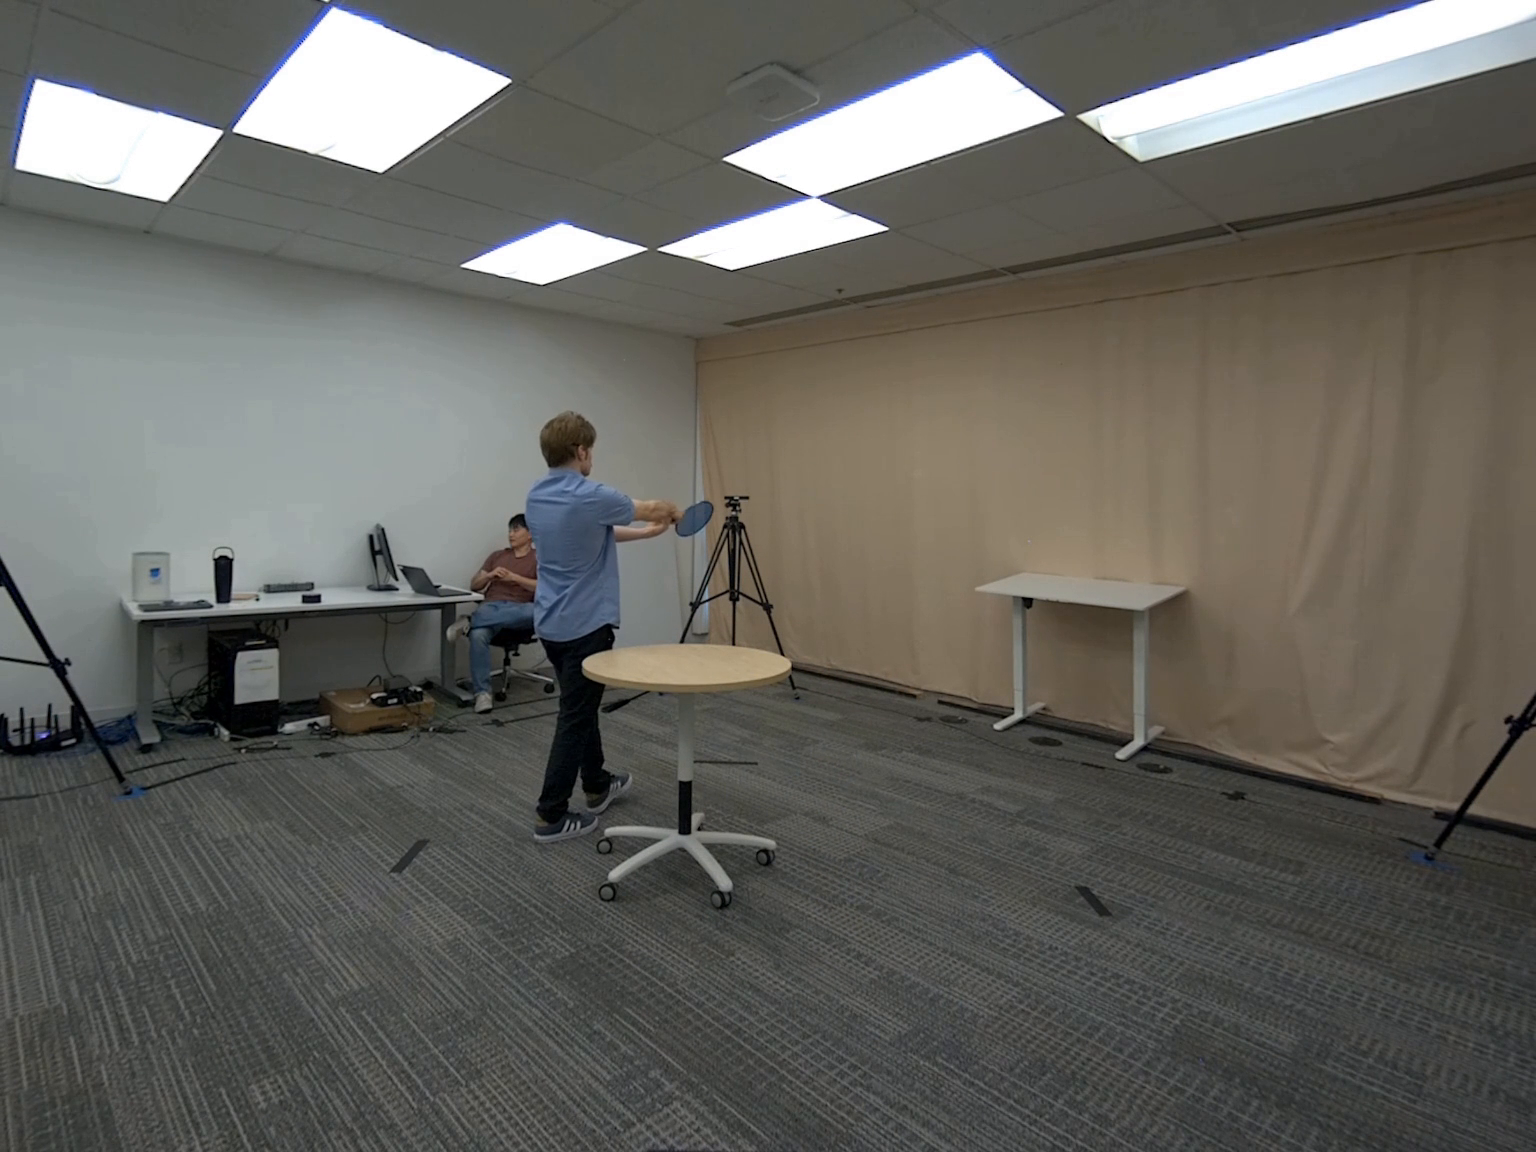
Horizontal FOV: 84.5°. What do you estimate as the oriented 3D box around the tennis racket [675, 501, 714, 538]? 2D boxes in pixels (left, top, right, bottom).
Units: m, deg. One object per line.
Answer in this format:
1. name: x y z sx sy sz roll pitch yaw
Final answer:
1. tennis racket: -0.396 -0.272 3.957 0.032 0.213 0.424 37 19 22
